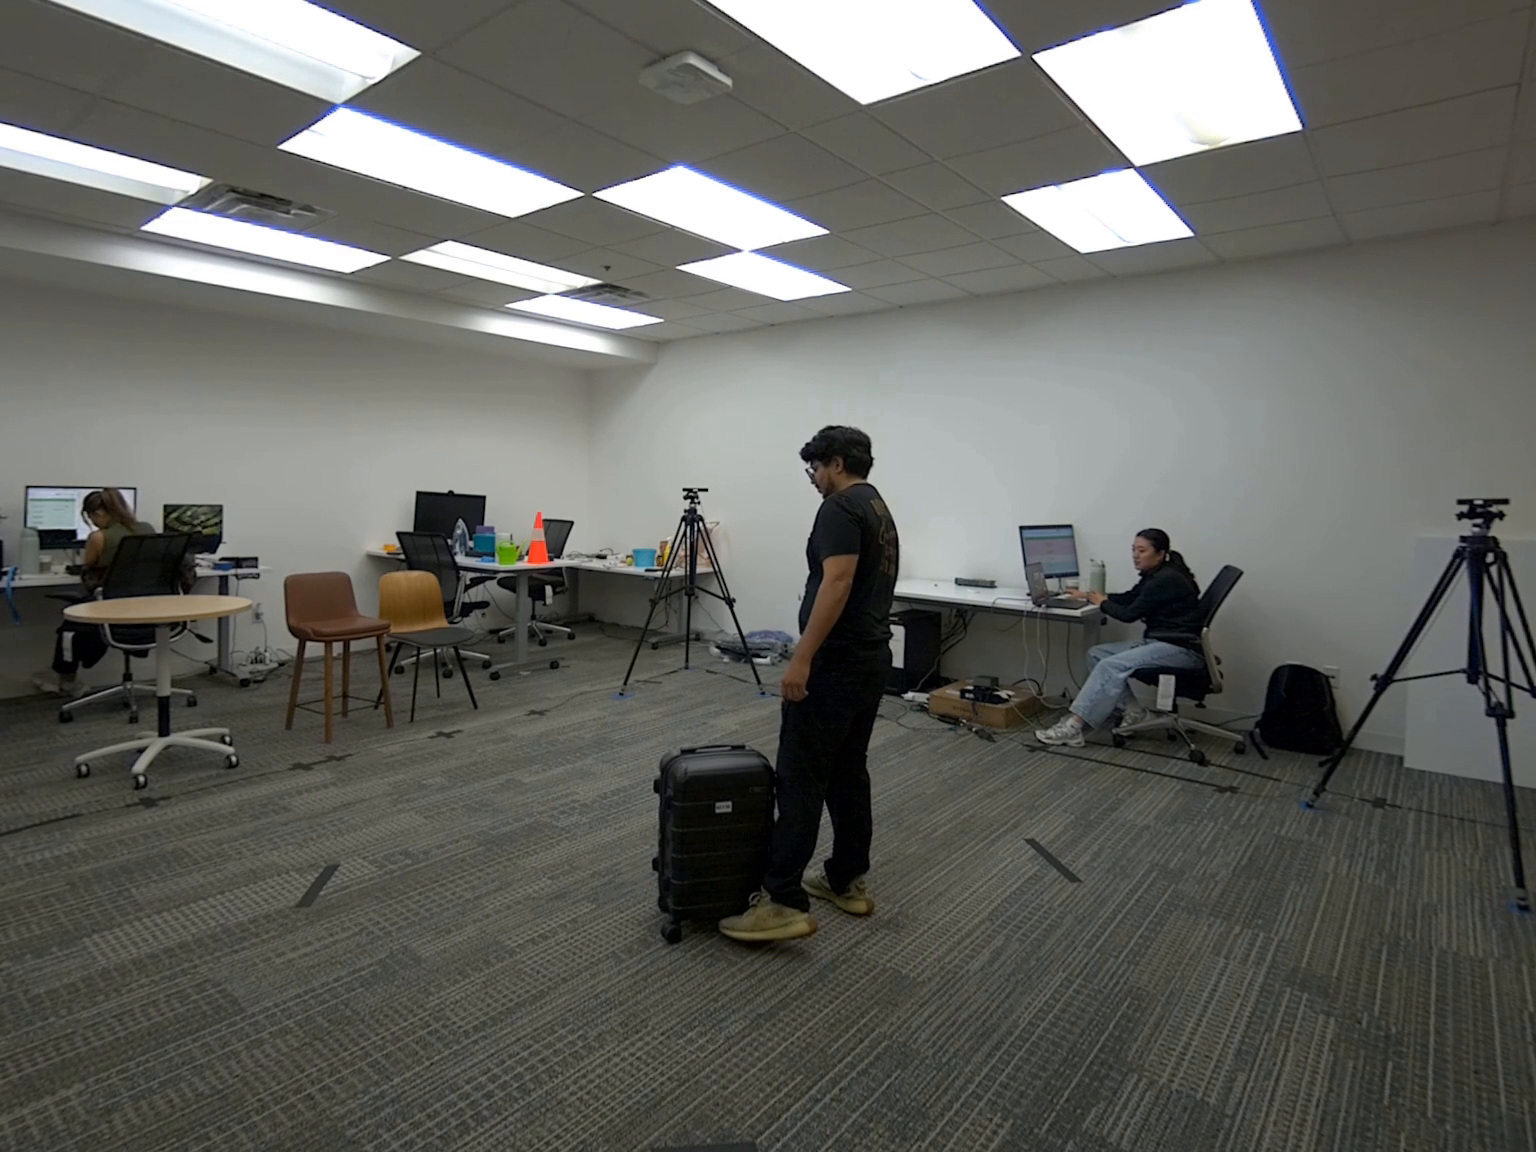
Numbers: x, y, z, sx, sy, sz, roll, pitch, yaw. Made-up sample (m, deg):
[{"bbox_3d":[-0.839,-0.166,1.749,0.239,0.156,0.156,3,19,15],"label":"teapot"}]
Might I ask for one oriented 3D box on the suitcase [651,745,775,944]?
[{"bbox_3d":[-0.178,0.825,2.746,0.369,0.548,0.253,0,3,-18],"label":"suitcase"}]
